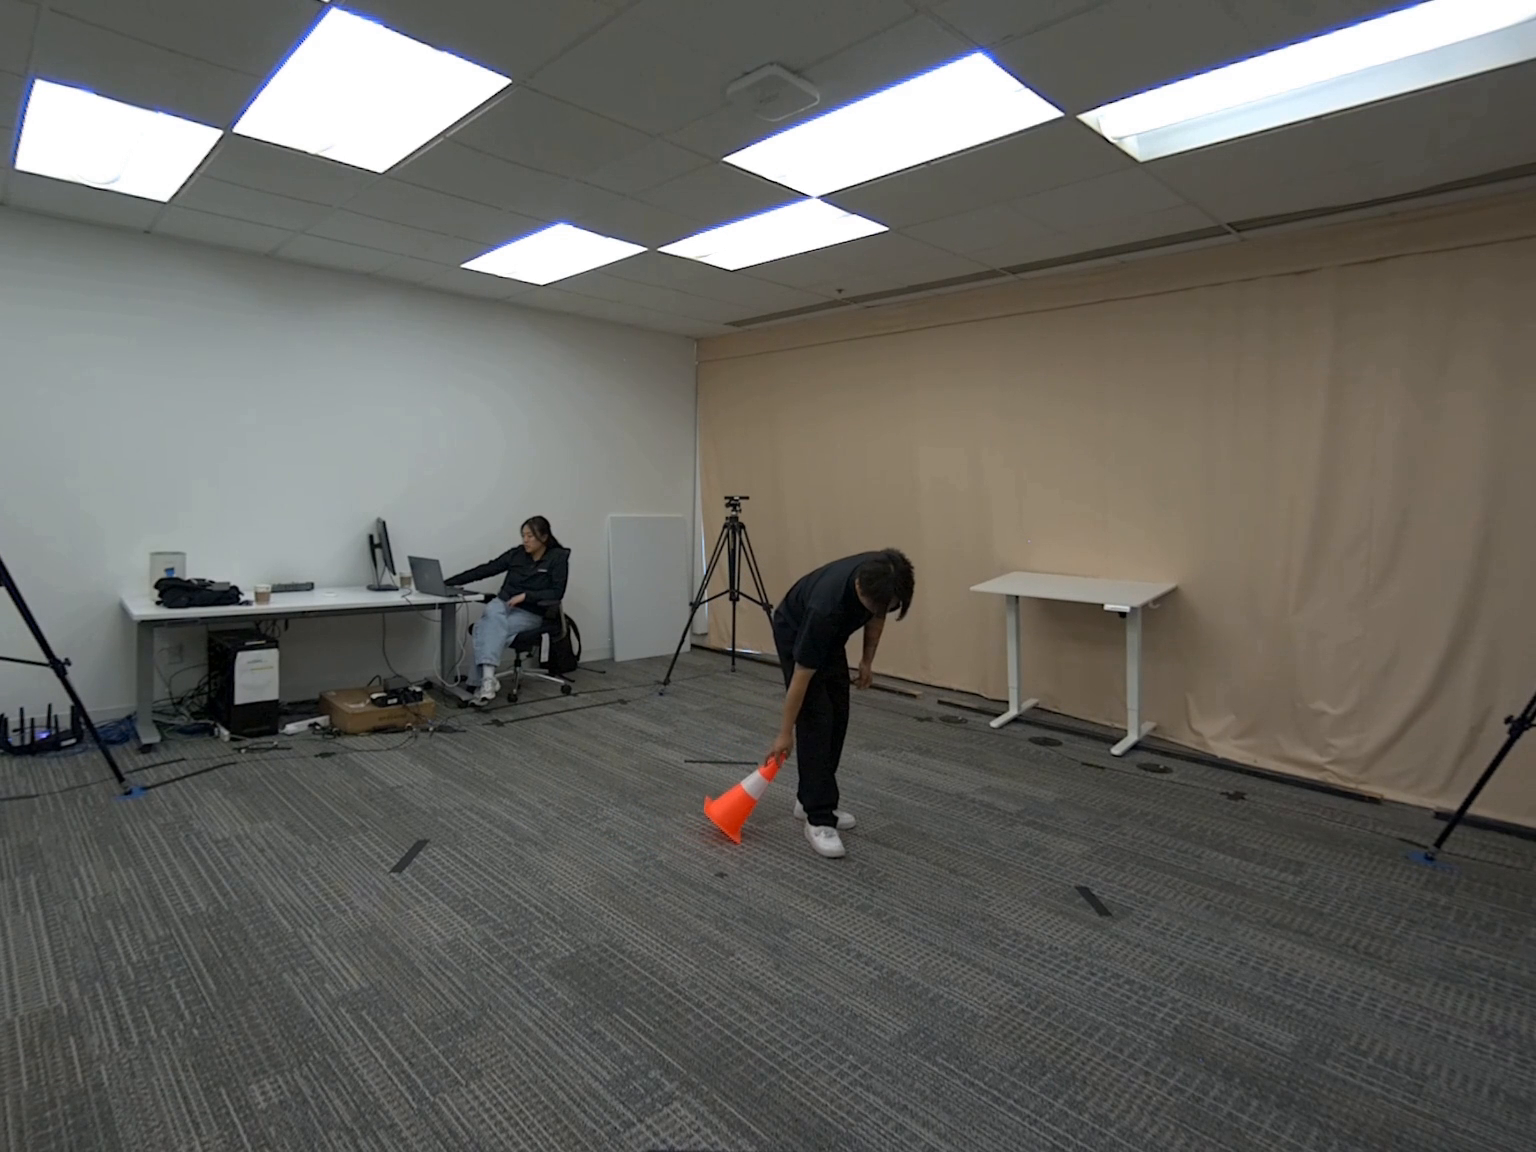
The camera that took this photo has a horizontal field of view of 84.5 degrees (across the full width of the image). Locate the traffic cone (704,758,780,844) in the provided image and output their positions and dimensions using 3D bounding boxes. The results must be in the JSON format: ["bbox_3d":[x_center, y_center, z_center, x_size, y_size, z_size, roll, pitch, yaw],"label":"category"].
[{"bbox_3d":[-0.066,0.864,3.466,0.205,0.383,0.203,42,5,1],"label":"traffic cone"}]
